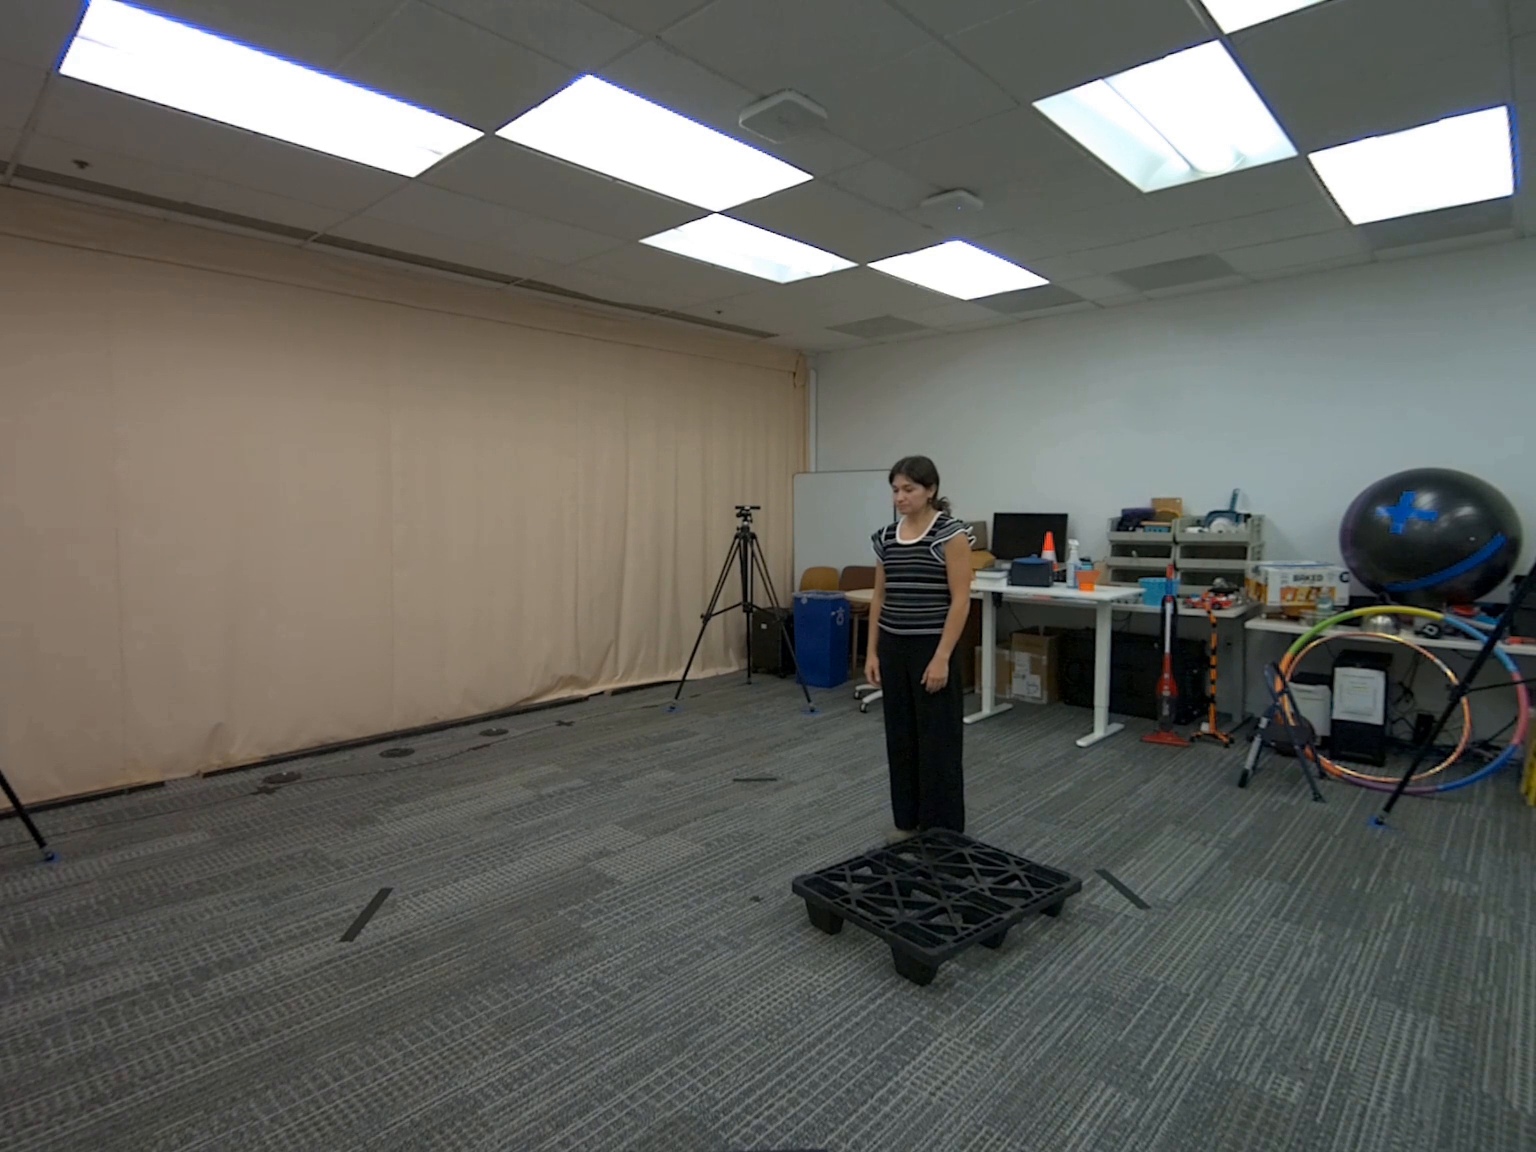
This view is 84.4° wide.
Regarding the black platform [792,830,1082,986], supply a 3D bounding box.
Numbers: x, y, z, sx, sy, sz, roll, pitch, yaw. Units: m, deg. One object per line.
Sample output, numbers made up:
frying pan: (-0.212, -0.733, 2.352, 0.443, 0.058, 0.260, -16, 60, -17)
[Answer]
black platform: (0.578, 1.090, 2.830, 0.781, 0.143, 0.625, -4, 7, -39)
